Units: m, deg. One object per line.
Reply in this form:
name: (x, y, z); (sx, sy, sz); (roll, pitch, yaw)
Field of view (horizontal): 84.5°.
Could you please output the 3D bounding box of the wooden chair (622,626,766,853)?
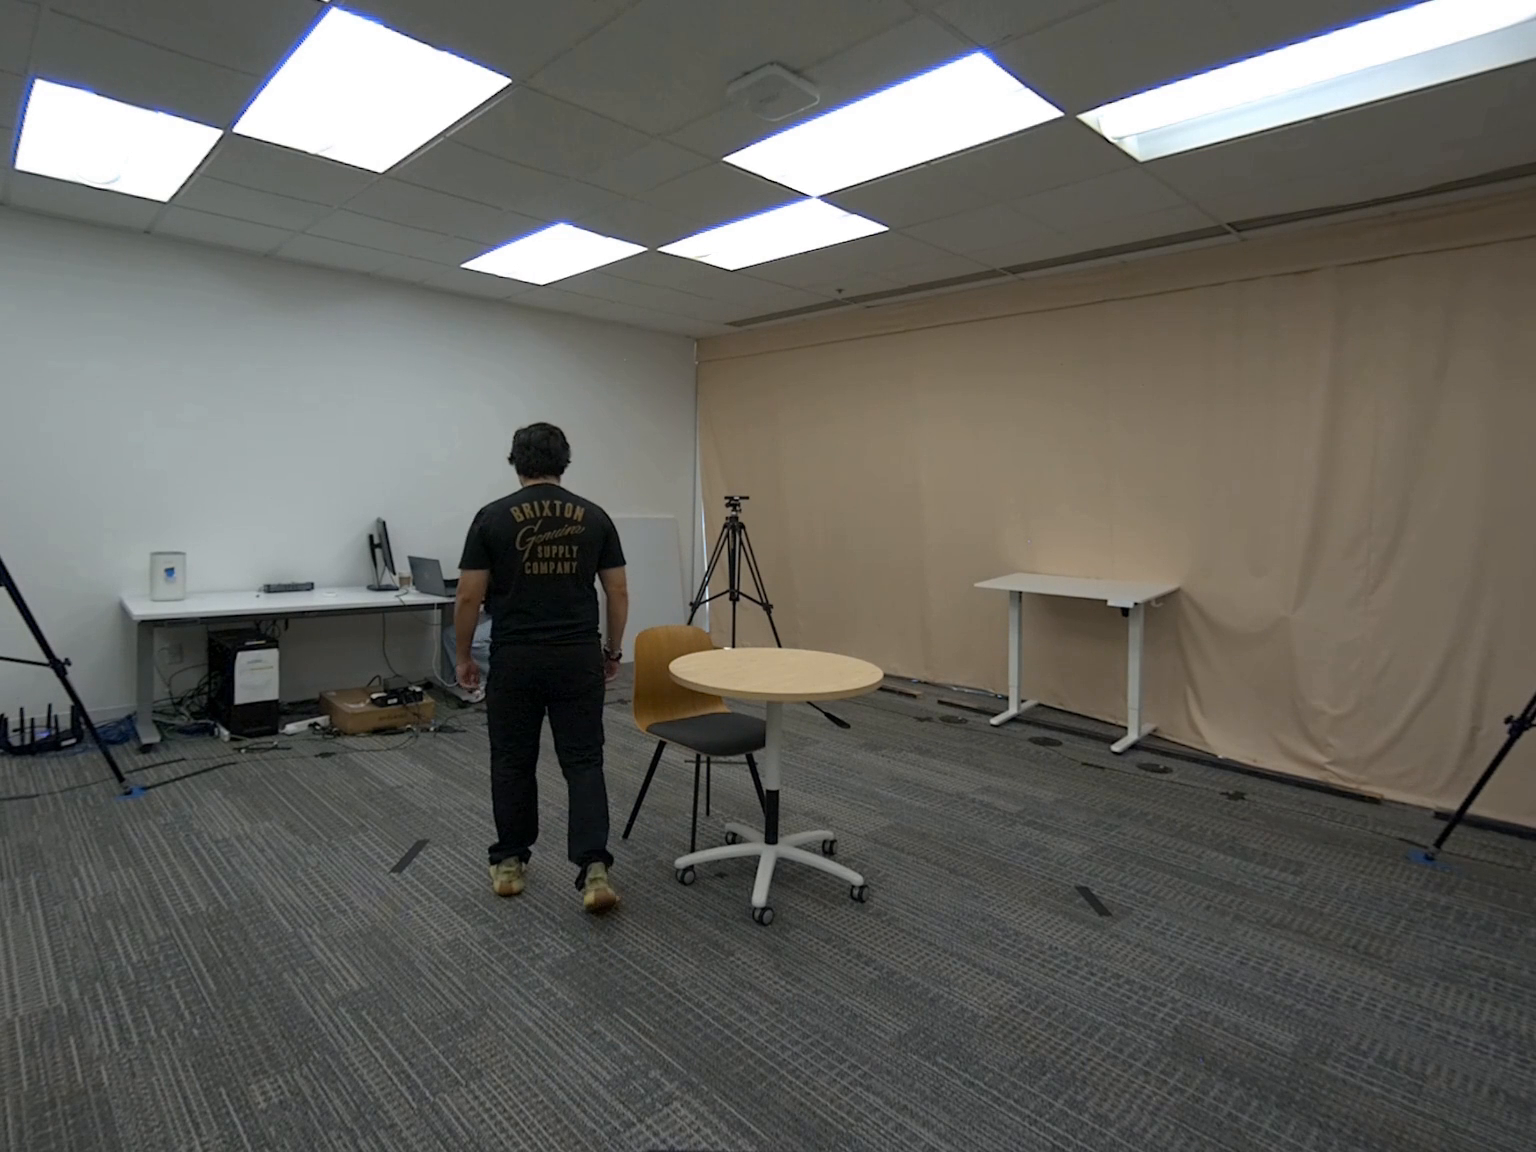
wooden chair: (-0.259, 0.648, 3.341); (0.467, 0.878, 0.535); (0, -1, -41)
